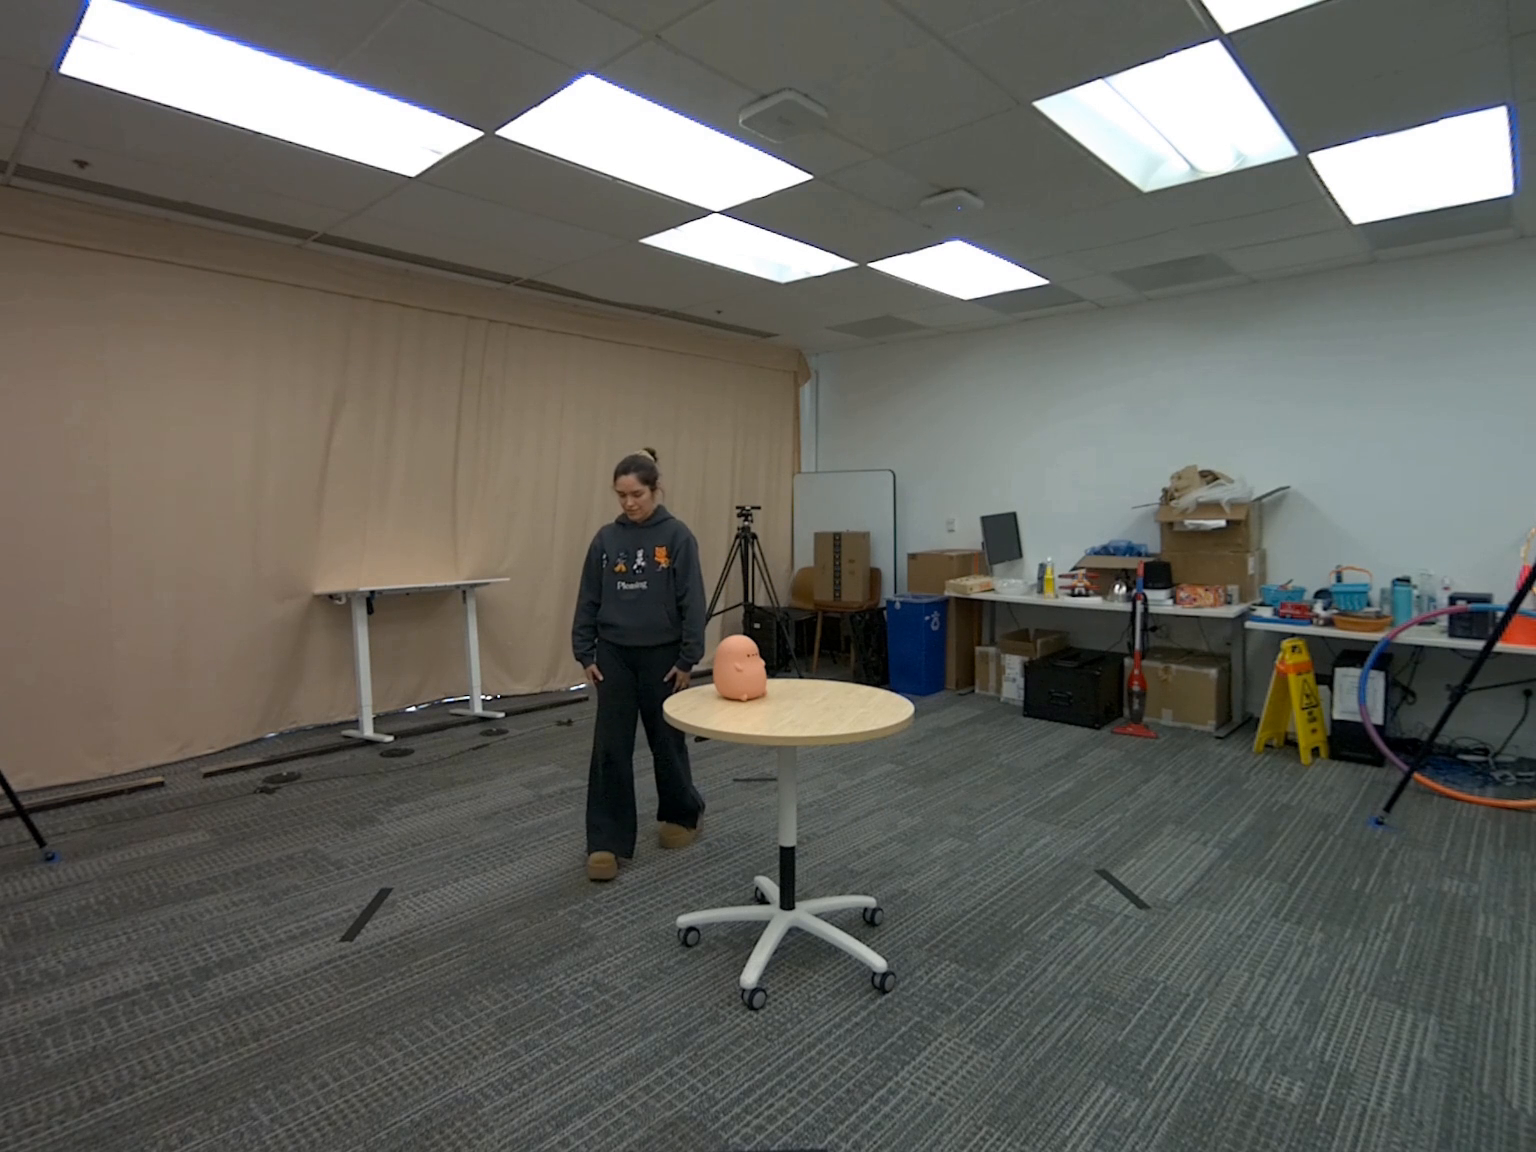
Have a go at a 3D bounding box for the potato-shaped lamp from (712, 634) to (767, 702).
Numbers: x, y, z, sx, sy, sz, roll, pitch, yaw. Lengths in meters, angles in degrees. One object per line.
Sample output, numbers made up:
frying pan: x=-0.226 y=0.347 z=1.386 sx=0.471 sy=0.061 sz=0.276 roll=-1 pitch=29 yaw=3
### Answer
potato-shaped lamp: x=-0.076 y=0.288 z=2.685 sx=0.177 sy=0.198 sz=0.160 roll=-1 pitch=2 yaw=43
